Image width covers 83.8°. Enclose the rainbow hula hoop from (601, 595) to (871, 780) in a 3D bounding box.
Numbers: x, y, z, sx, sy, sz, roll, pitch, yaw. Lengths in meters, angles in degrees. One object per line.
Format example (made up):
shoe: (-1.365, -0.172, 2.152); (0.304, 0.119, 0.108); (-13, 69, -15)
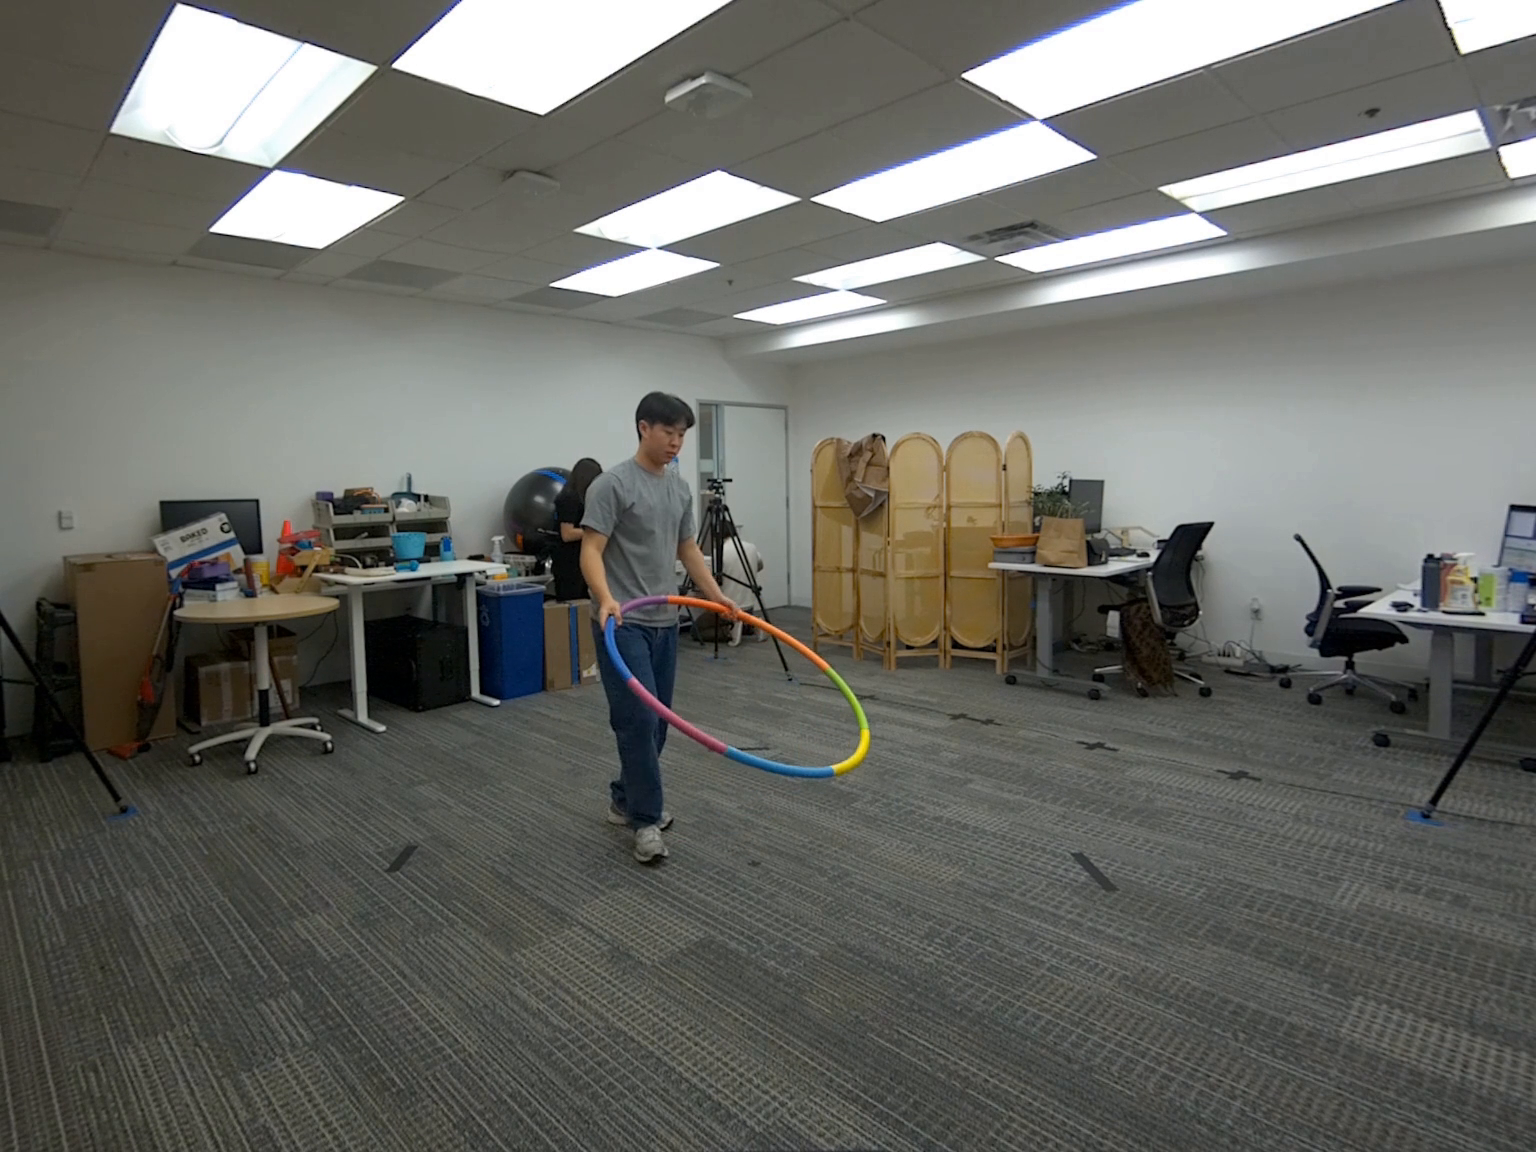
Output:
rainbow hula hoop: (-0.094, 0.354, 2.932); (0.967, 0.035, 0.998); (22, 21, -10)
